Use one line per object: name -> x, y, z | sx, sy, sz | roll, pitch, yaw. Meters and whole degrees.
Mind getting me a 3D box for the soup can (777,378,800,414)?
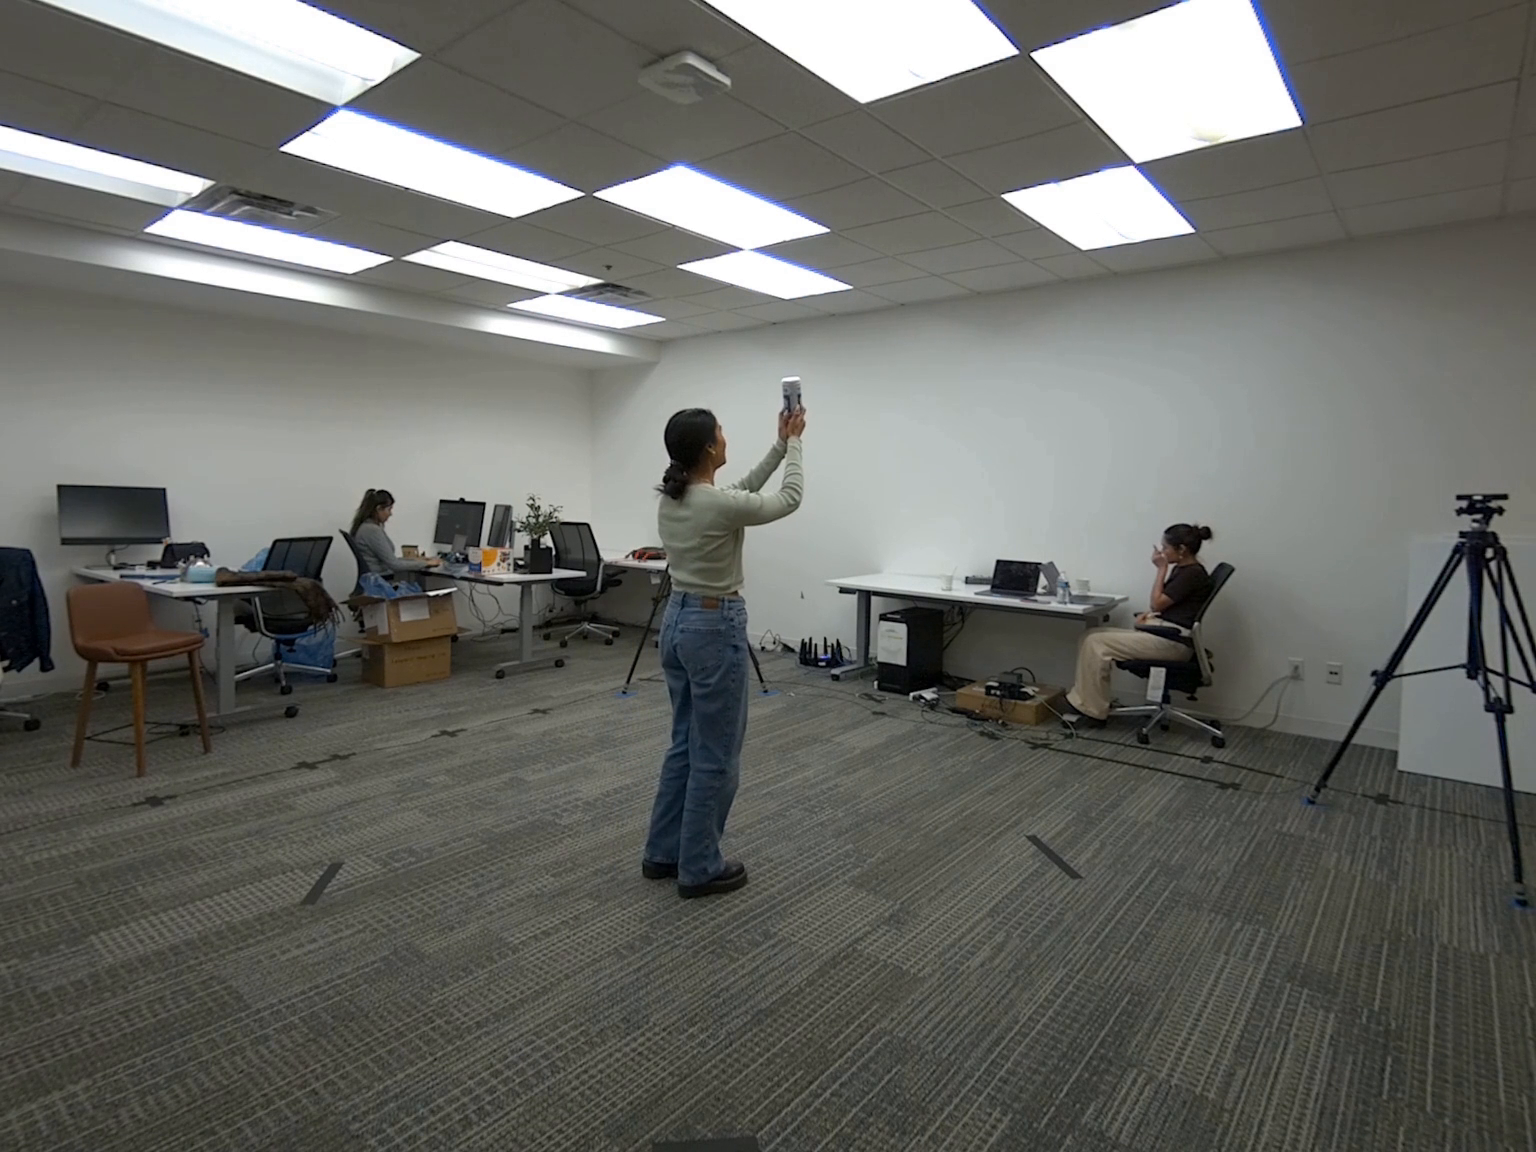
soup can -> 0.073, -0.652, 3.061 | 0.067, 0.119, 0.068 | -5, 17, 0
